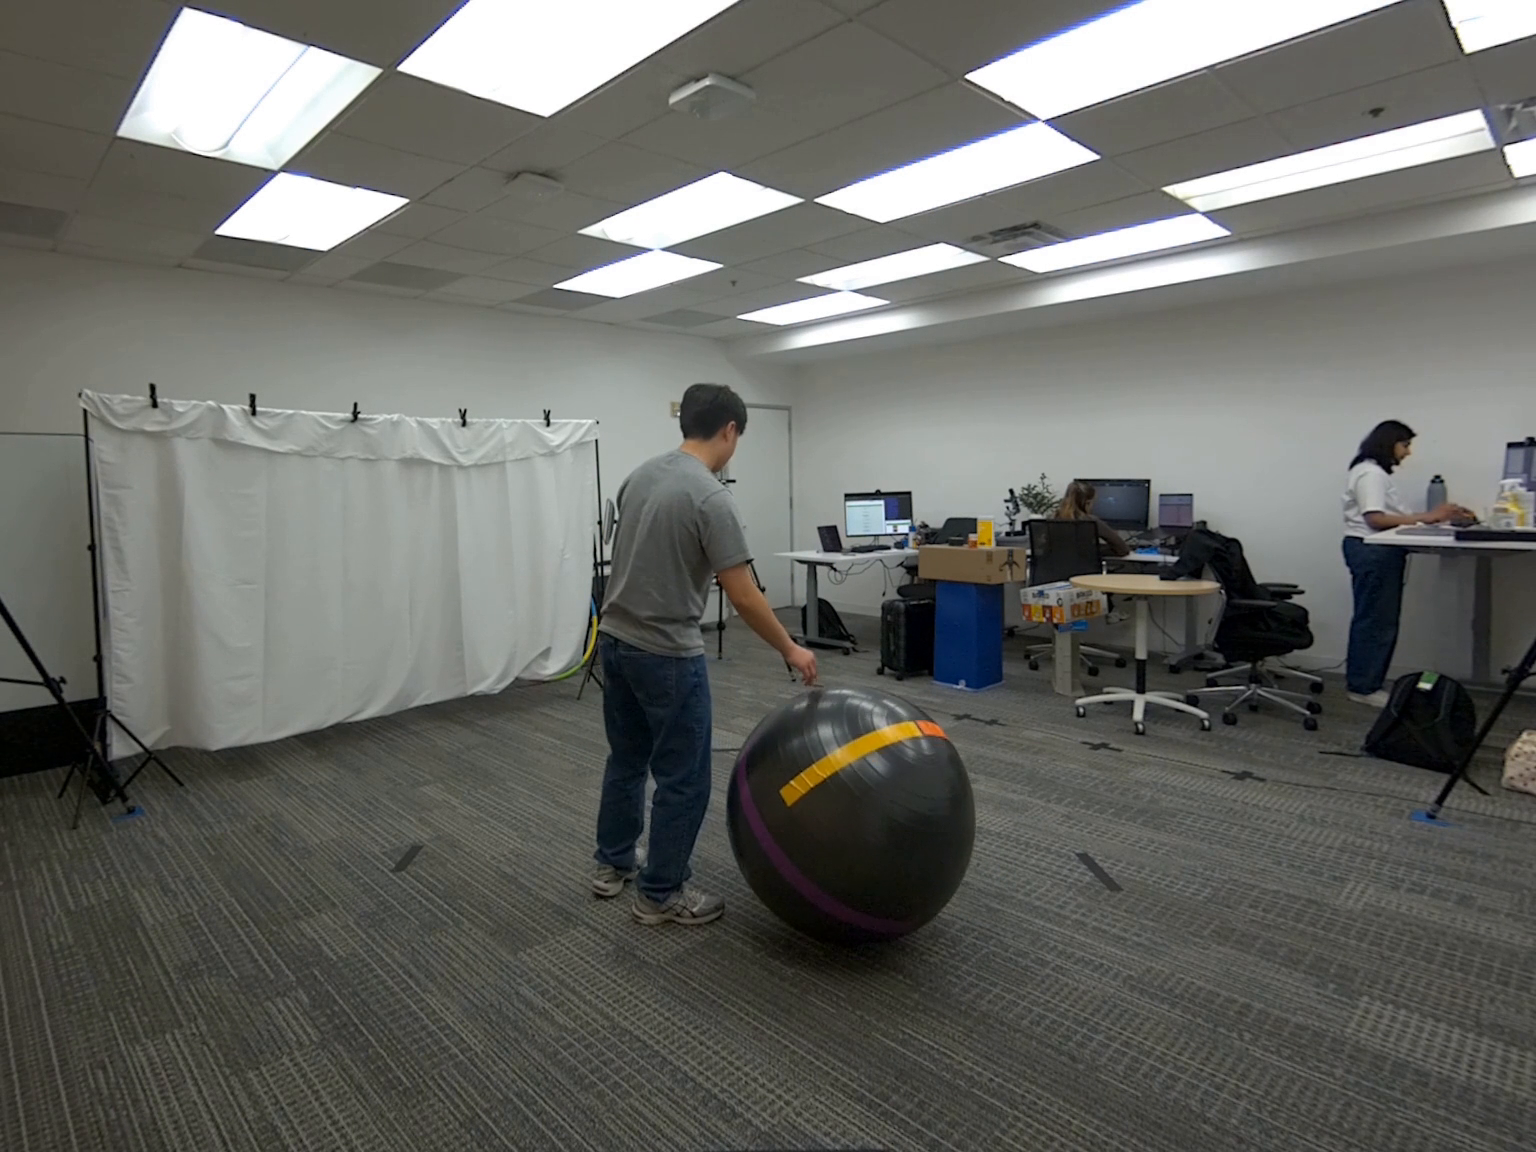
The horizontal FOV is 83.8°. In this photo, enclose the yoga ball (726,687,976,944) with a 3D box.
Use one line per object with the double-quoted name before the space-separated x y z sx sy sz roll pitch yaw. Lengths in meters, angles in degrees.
"yoga ball" 0.251 0.725 2.638 0.757 0.755 0.762 -1 5 -2
